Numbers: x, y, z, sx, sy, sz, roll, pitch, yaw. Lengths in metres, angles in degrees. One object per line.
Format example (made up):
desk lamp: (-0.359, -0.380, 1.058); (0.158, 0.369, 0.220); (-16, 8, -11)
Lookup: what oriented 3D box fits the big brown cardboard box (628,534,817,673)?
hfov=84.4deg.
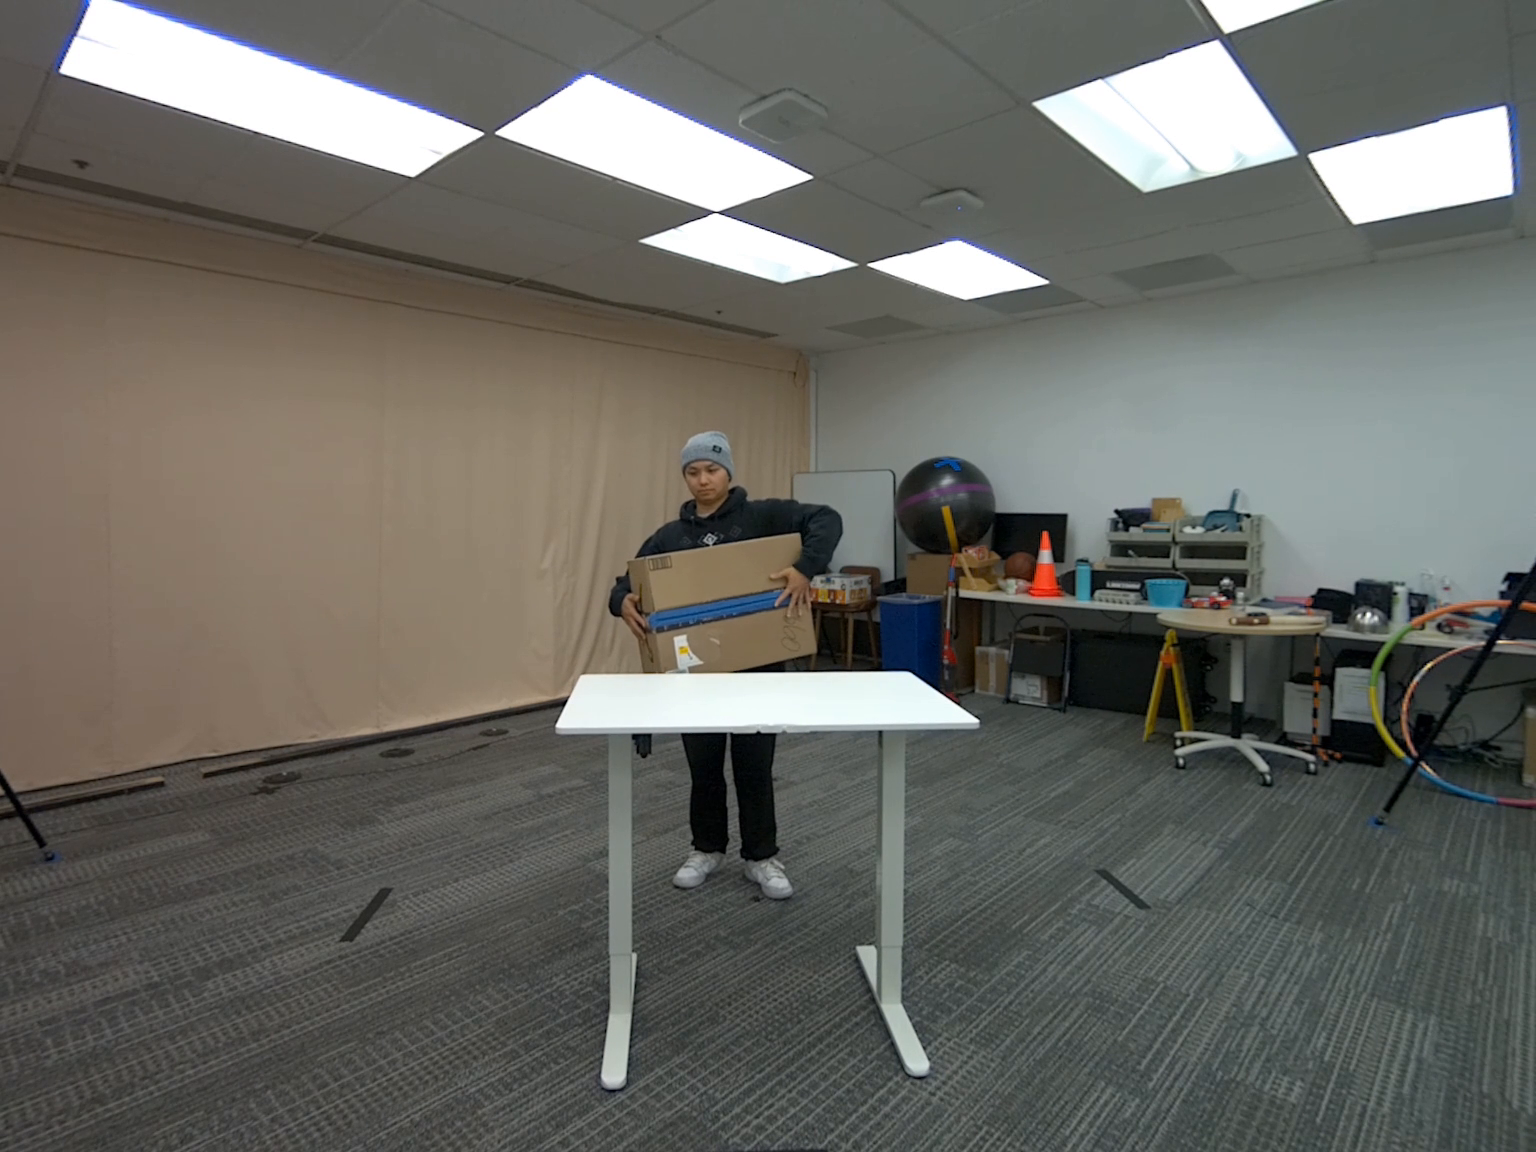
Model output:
big brown cardboard box: (-0.163, 0.109, 2.860); (0.577, 0.417, 0.238); (-10, 2, -23)
